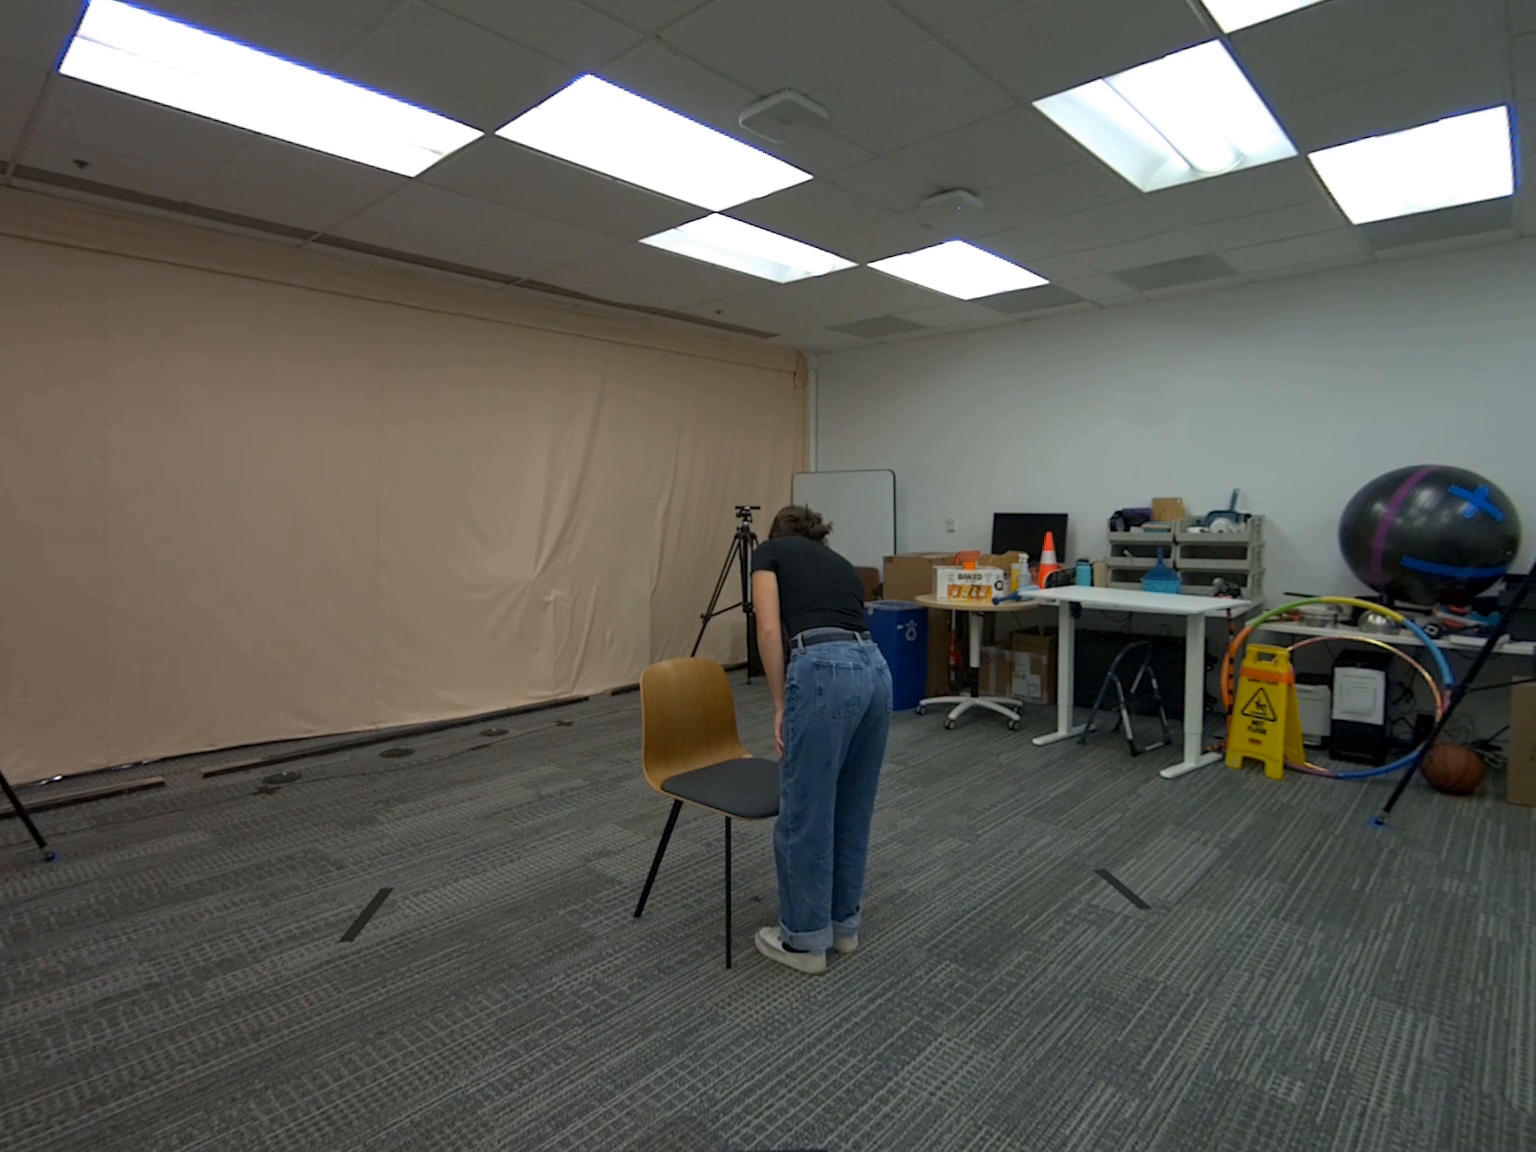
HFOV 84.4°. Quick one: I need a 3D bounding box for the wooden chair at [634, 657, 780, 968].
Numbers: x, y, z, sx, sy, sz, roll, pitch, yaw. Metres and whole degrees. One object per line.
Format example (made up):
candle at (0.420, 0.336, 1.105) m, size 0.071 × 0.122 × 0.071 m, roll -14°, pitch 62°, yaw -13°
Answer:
wooden chair at (-0.131, 0.733, 2.817) m, size 0.539 × 0.877 × 0.463 m, roll -3°, pitch 1°, yaw 44°
